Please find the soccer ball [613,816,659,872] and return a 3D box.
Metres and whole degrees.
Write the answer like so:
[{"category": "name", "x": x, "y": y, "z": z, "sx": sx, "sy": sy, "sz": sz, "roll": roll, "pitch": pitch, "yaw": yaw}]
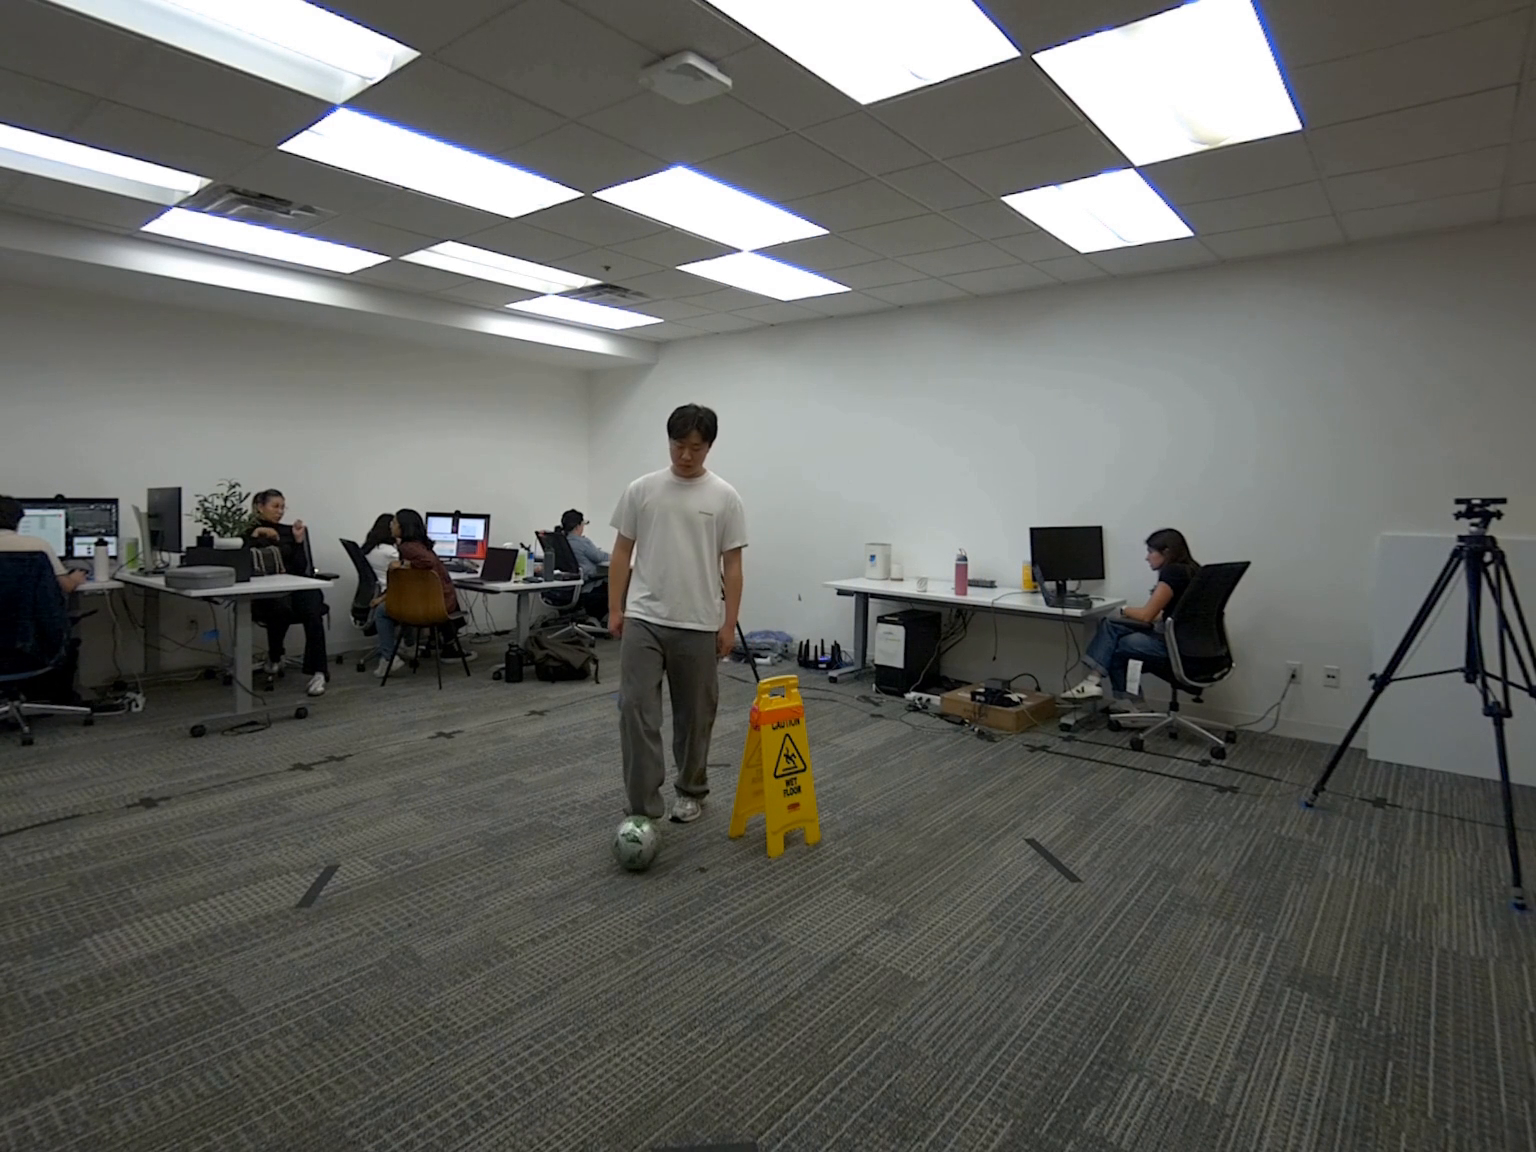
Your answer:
[{"category": "soccer ball", "x": -0.483, "y": 0.968, "z": 3.109, "sx": 0.187, "sy": 0.187, "sz": 0.188, "roll": 1, "pitch": 4, "yaw": -2}]
